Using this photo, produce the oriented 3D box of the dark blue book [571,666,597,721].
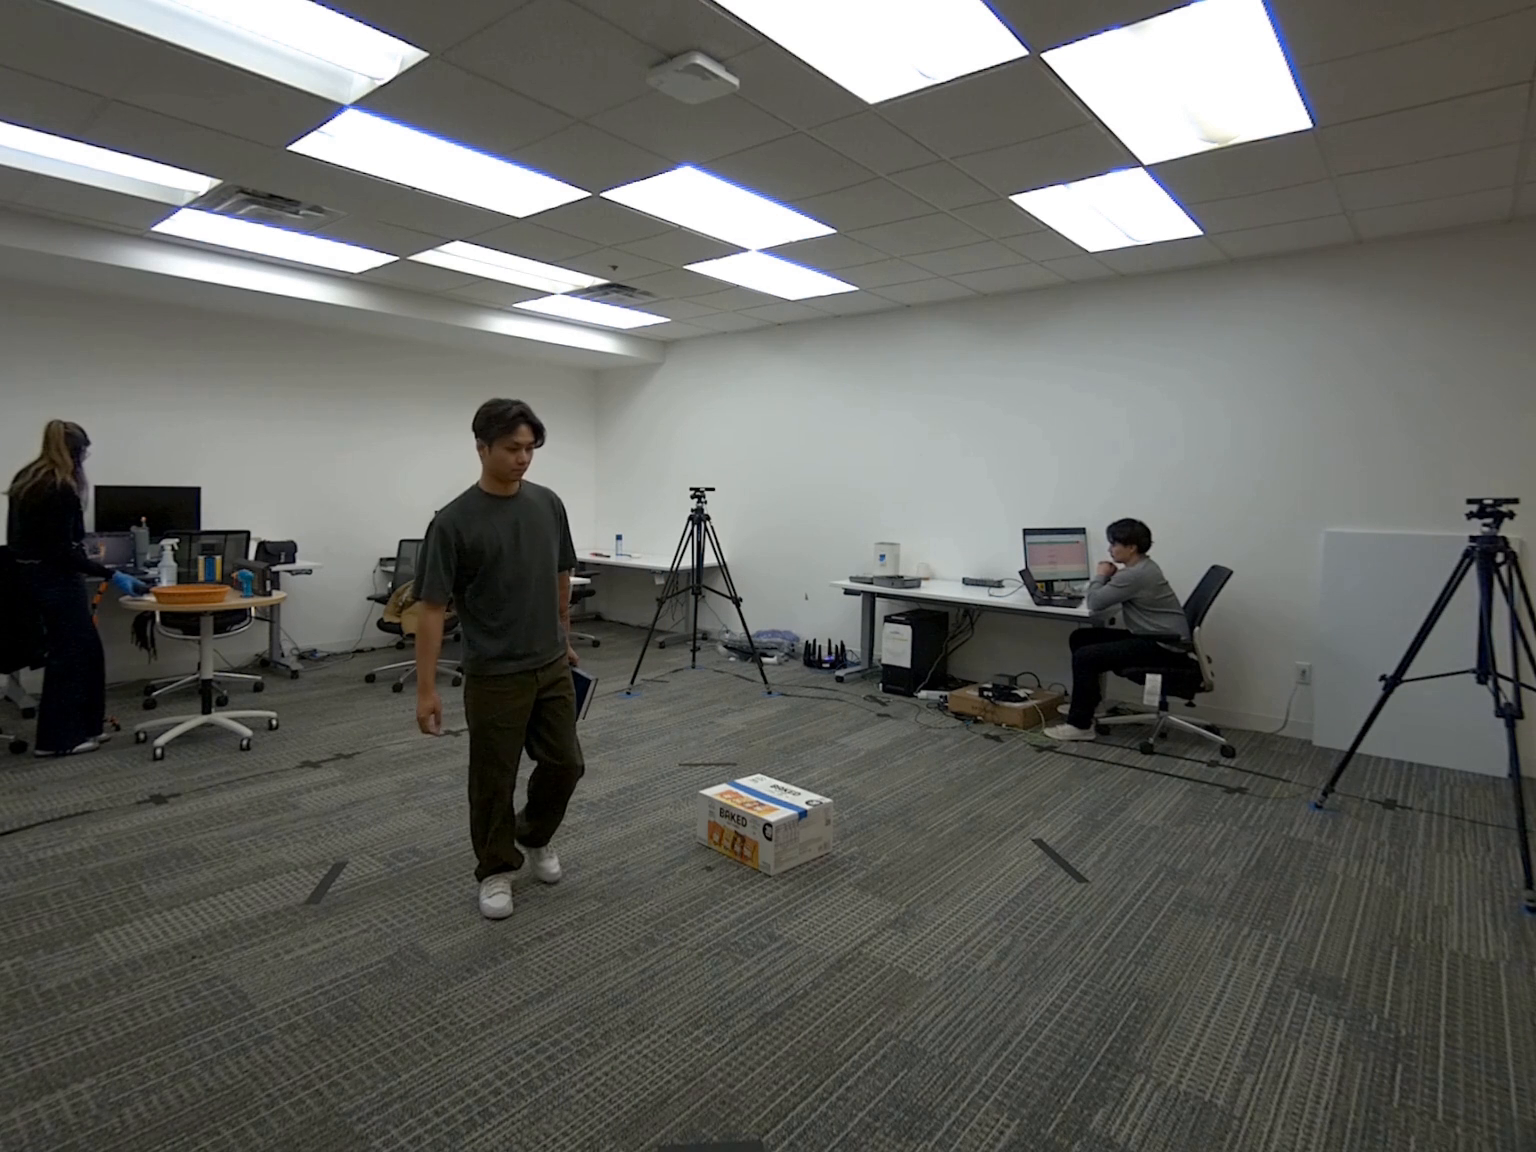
[{"bbox_3d":[-0.748,0.391,3.054,0.252,0.163,0.044,22,6,23],"label":"dark blue book"}]
